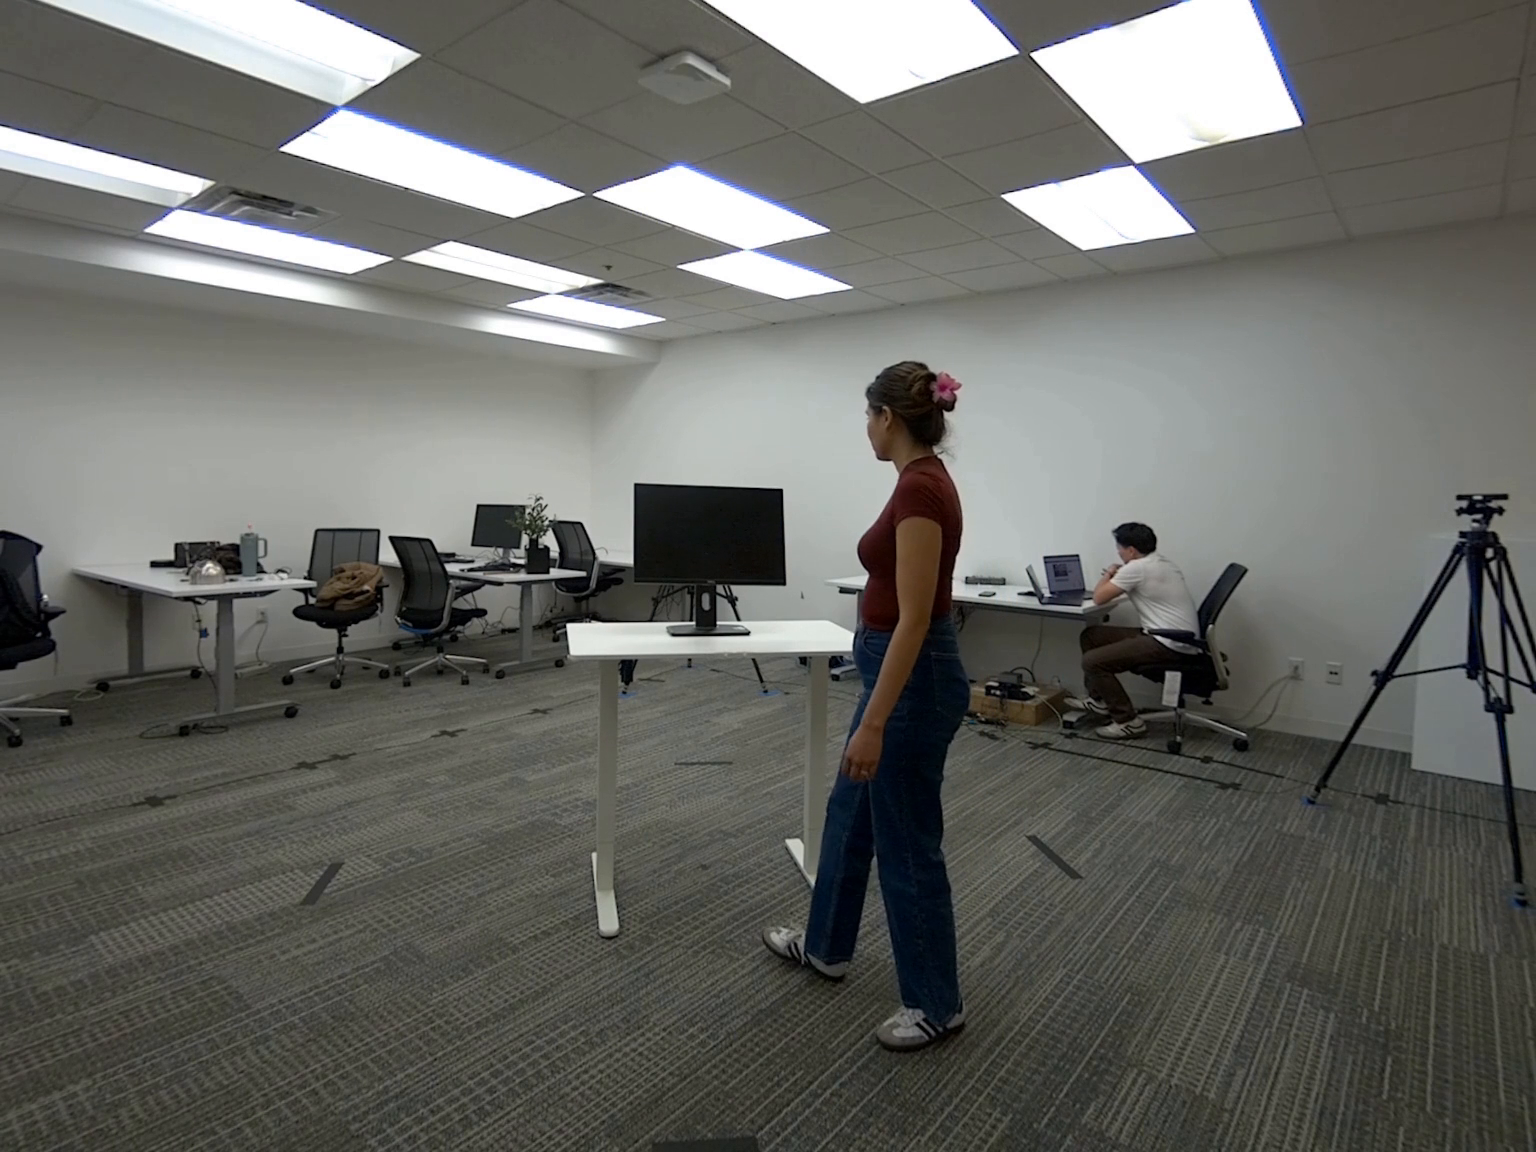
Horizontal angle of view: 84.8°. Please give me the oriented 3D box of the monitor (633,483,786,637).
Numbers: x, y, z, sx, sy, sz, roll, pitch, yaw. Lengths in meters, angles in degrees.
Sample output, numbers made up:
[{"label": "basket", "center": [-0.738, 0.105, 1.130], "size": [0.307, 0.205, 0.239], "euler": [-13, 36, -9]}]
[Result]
[{"label": "monitor", "center": [-0.221, -0.058, 2.995], "size": [0.531, 0.522, 0.190], "euler": [0, 1, -14]}]
